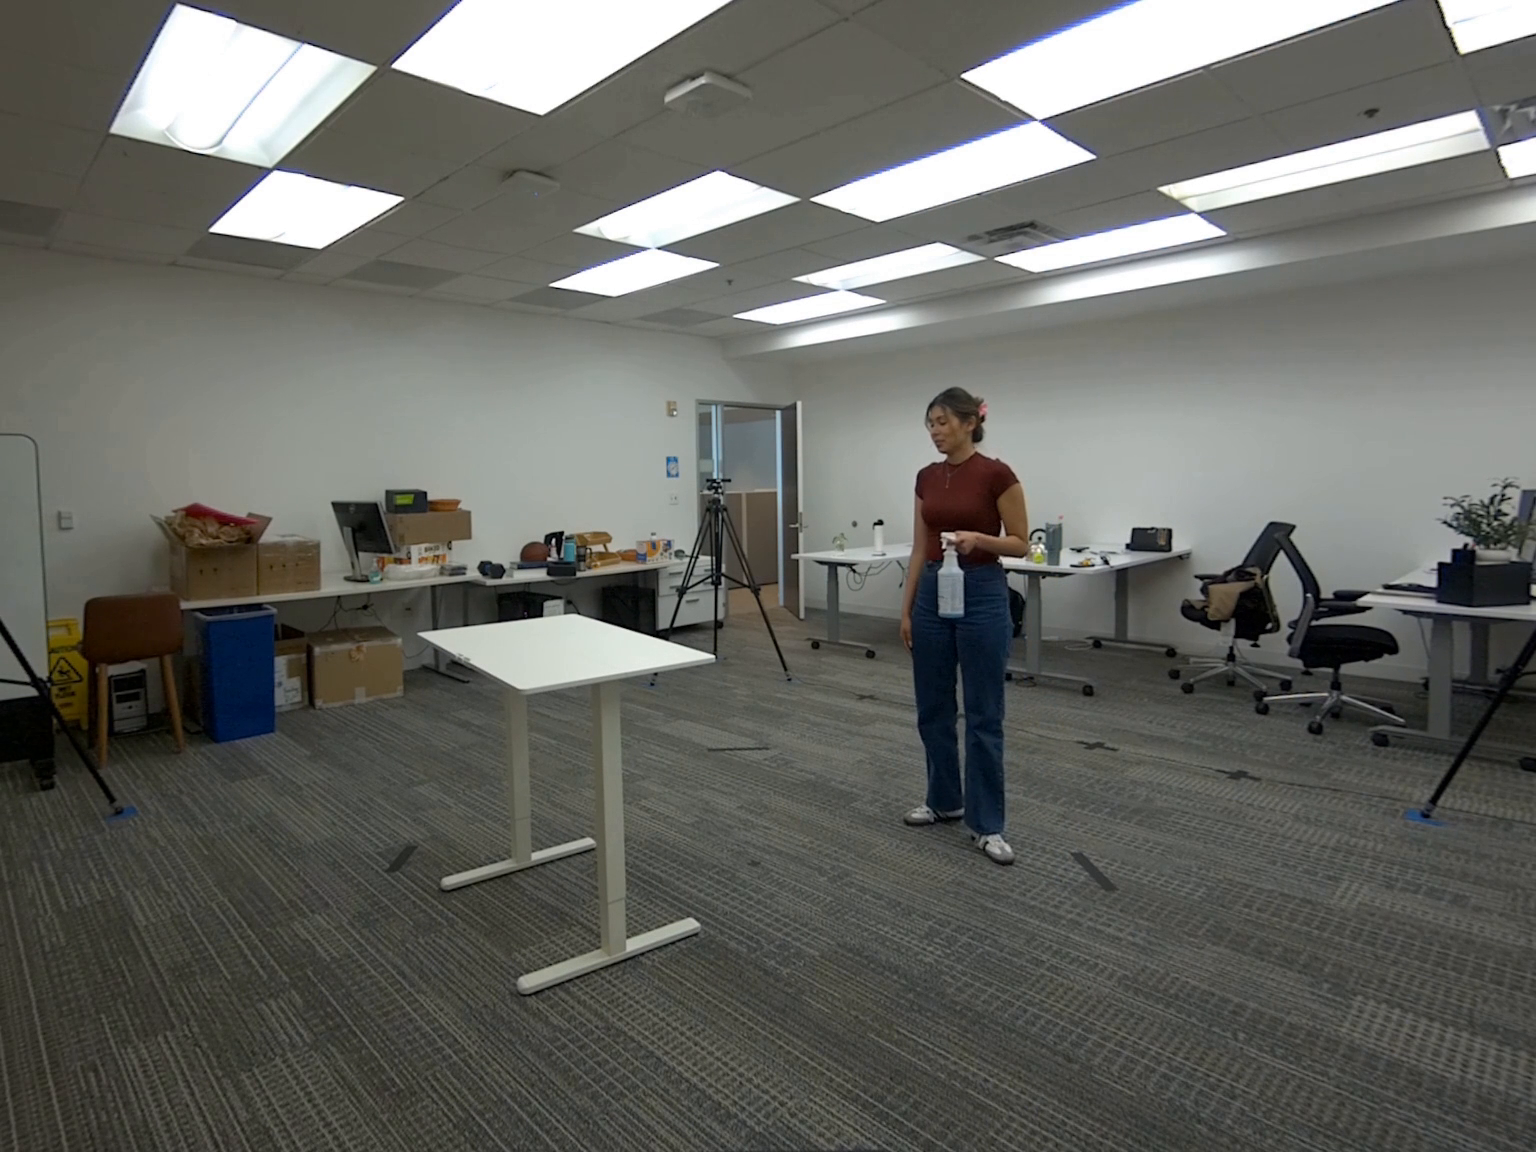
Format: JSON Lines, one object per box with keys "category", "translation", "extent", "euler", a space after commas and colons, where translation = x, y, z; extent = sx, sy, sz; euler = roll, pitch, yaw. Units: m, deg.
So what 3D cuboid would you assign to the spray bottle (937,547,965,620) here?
{"category": "spray bottle", "translation": [0.643, -0.001, 3.002], "extent": [0.088, 0.297, 0.089], "euler": [-4, 2, -22]}
